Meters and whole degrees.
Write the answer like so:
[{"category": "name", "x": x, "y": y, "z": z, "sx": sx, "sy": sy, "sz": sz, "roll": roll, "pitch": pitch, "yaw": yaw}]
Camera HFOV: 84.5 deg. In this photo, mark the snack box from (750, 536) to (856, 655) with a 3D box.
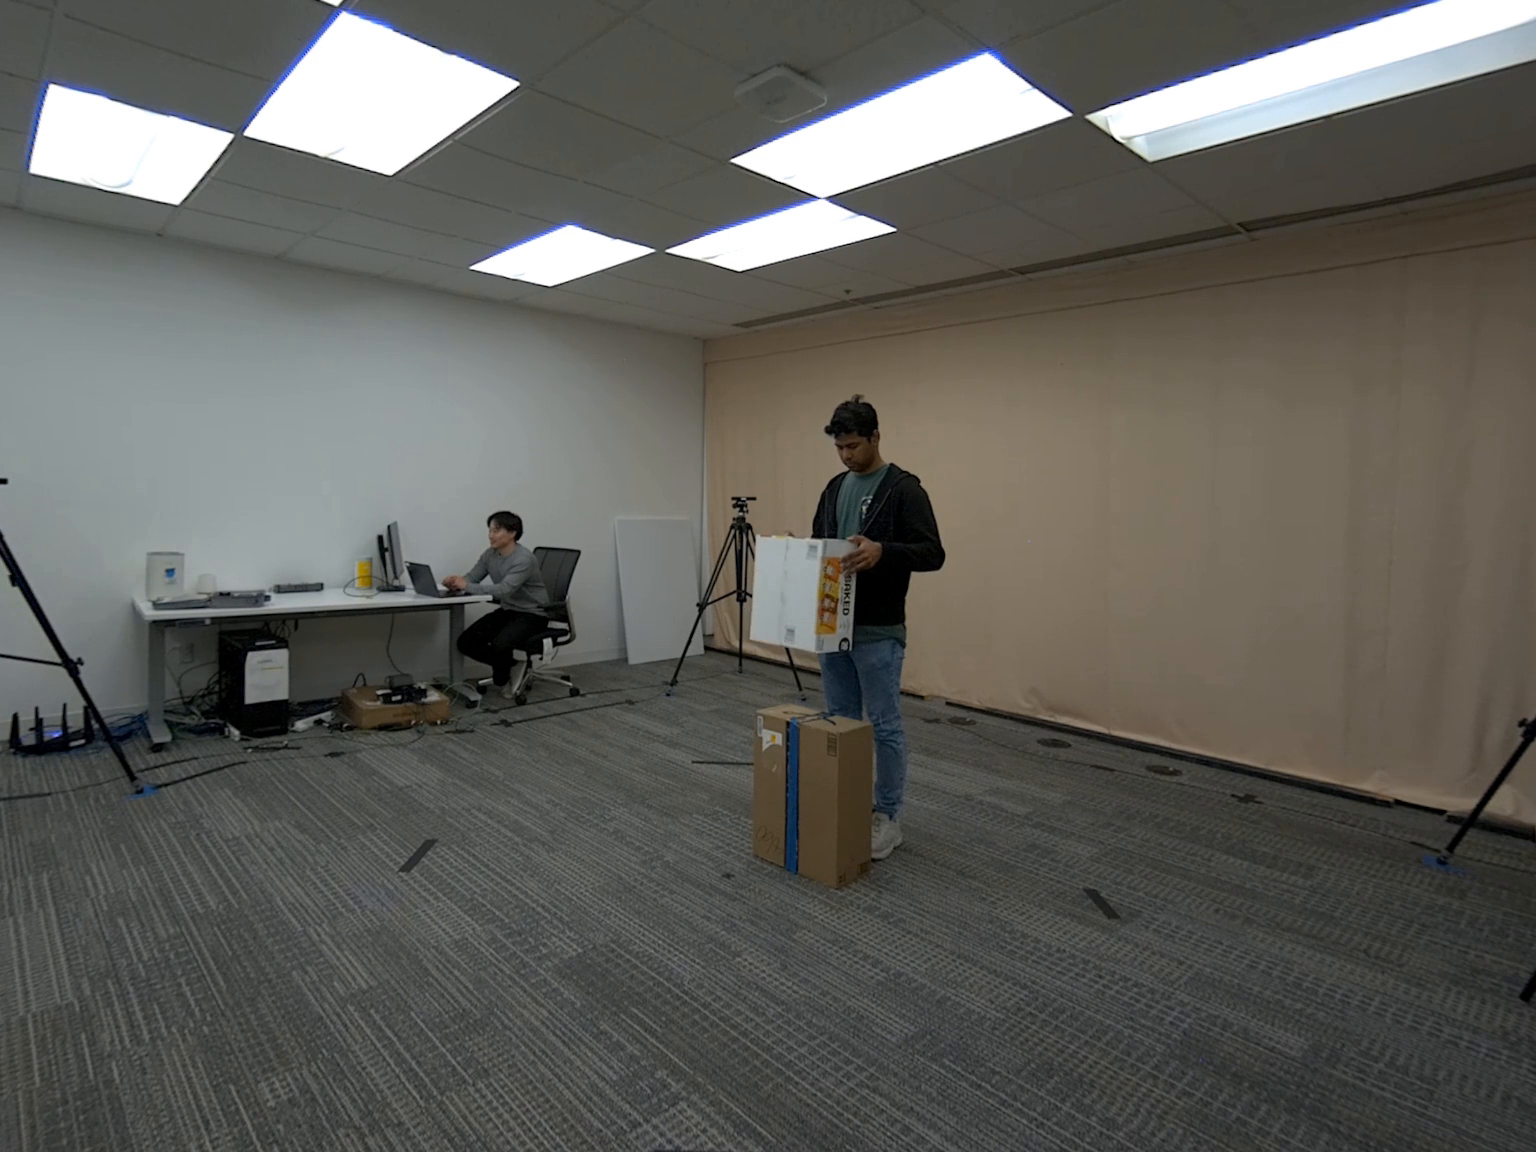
[{"category": "snack box", "x": 0.123, "y": 0.060, "z": 3.149, "sx": 0.201, "sy": 0.405, "sz": 0.349, "roll": 2, "pitch": 2, "yaw": -44}]
